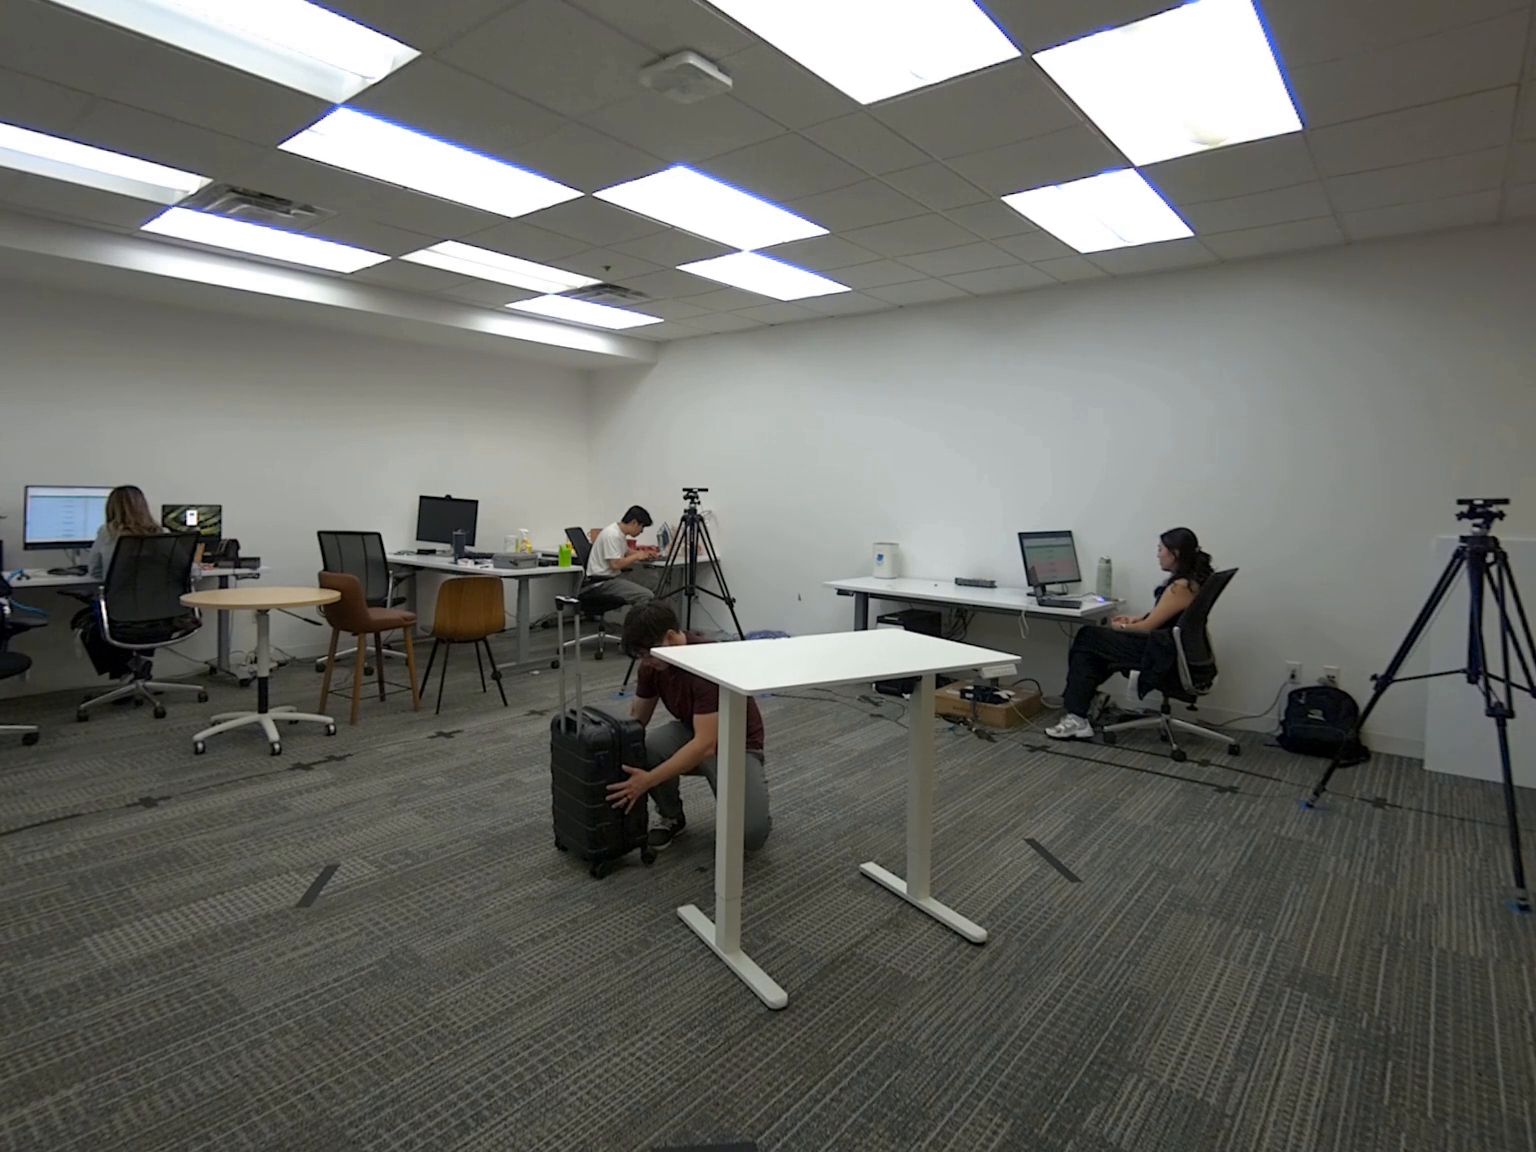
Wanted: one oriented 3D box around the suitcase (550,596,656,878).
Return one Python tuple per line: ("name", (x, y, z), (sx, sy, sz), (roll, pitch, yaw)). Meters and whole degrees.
("suitcase", (-0.653, 0.568, 3.155), (0.250, 0.975, 0.396), (-3, 5, -37))
